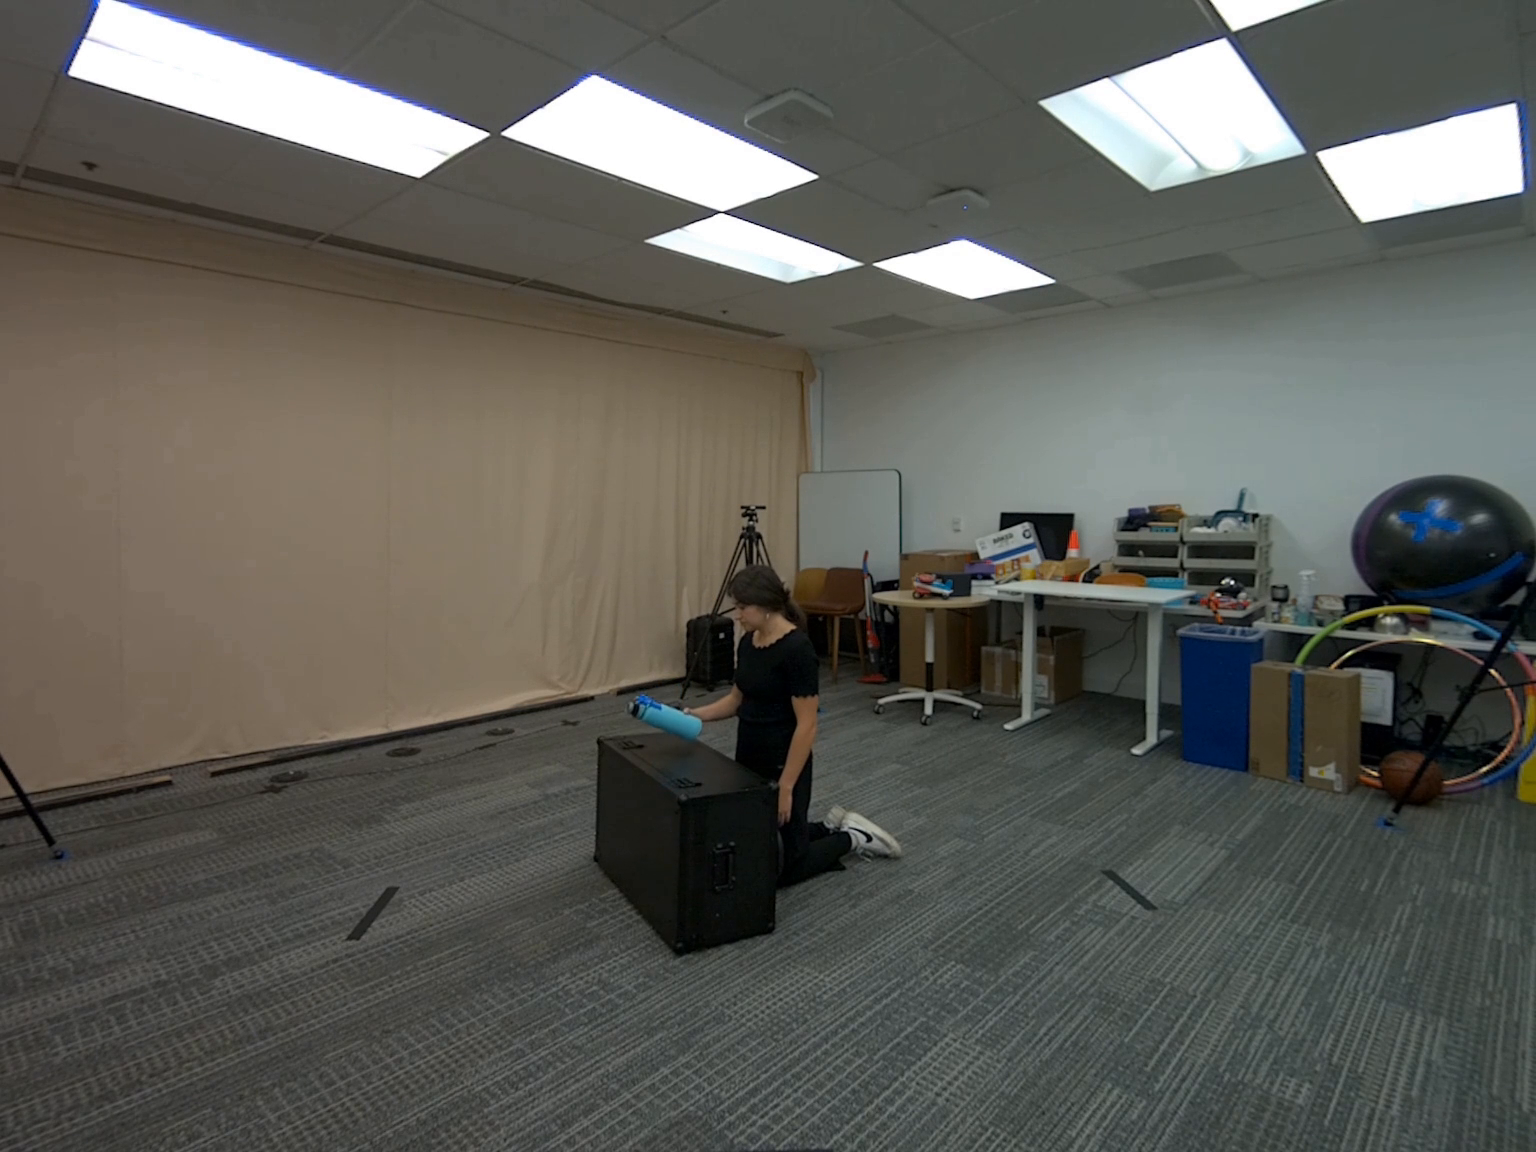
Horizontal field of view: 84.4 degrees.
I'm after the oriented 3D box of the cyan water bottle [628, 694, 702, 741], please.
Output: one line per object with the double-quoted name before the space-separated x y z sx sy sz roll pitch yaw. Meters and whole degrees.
"cyan water bottle" -0.385 0.525 3.123 0.277 0.092 0.094 27 -6 -19
